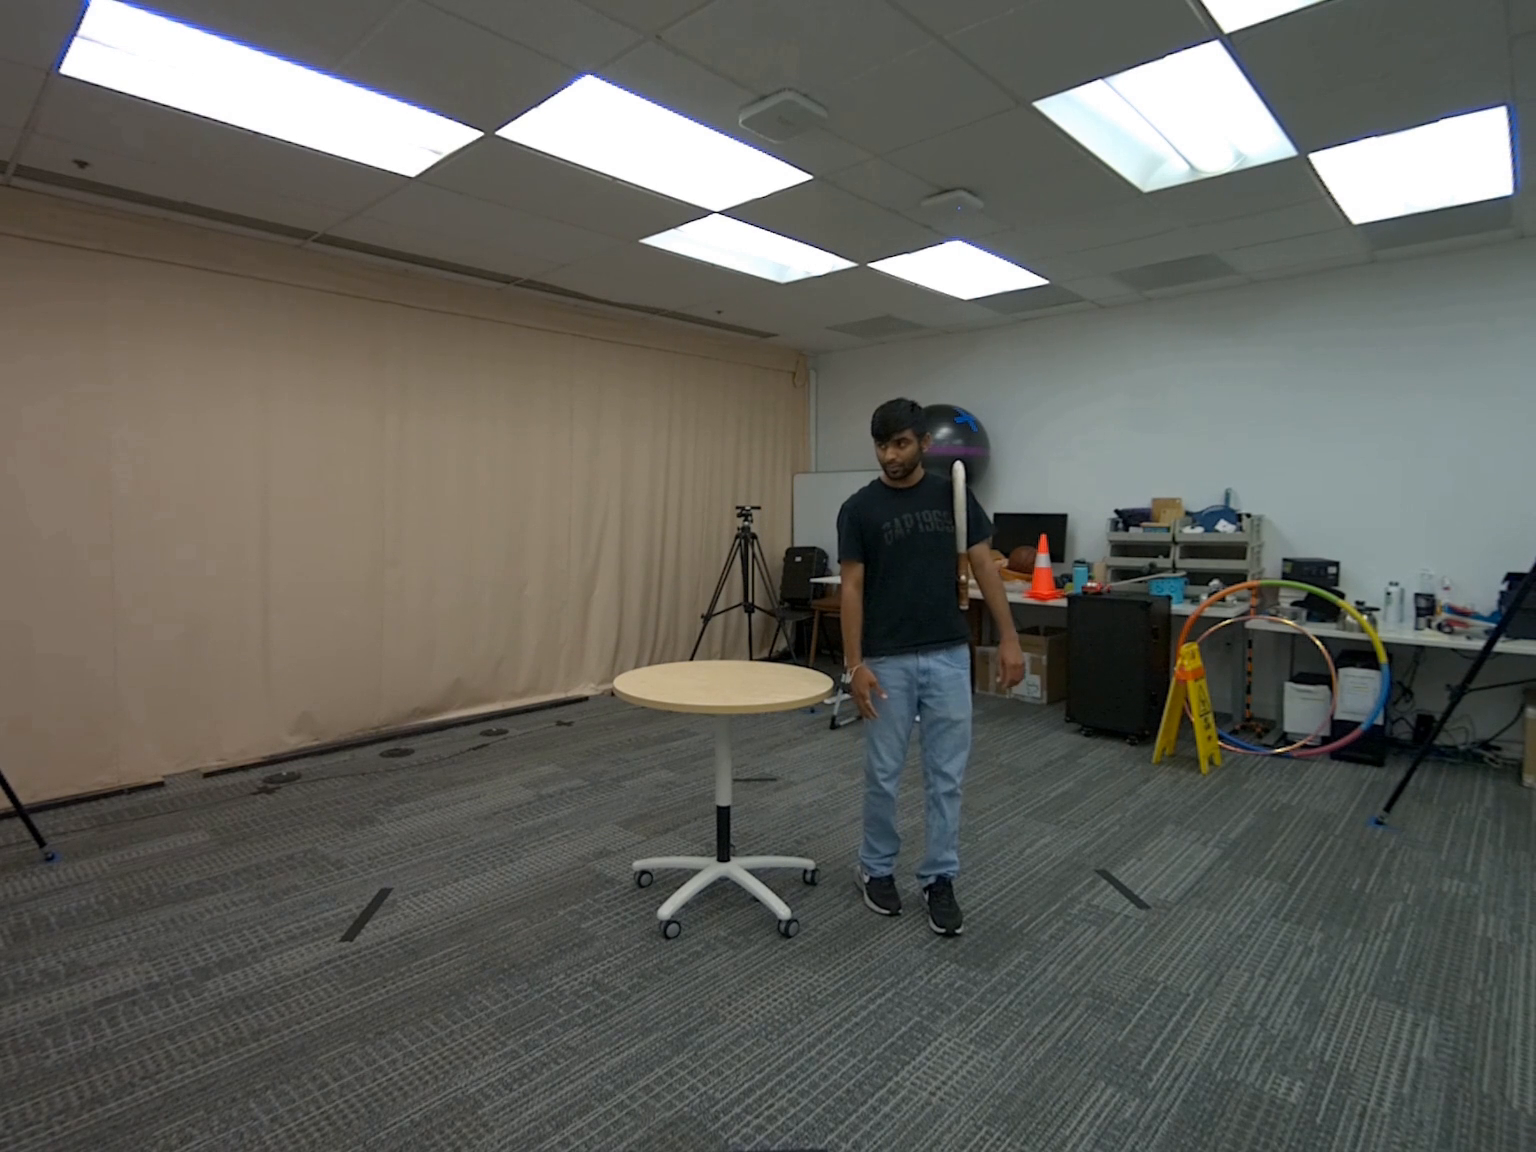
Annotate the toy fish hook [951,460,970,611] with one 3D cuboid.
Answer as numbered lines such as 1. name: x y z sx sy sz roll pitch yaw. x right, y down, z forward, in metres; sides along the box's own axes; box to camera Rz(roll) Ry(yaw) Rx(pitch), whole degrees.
1. toy fish hook: 0.668 -0.135 2.897 0.049 0.505 0.221 -1 4 16
